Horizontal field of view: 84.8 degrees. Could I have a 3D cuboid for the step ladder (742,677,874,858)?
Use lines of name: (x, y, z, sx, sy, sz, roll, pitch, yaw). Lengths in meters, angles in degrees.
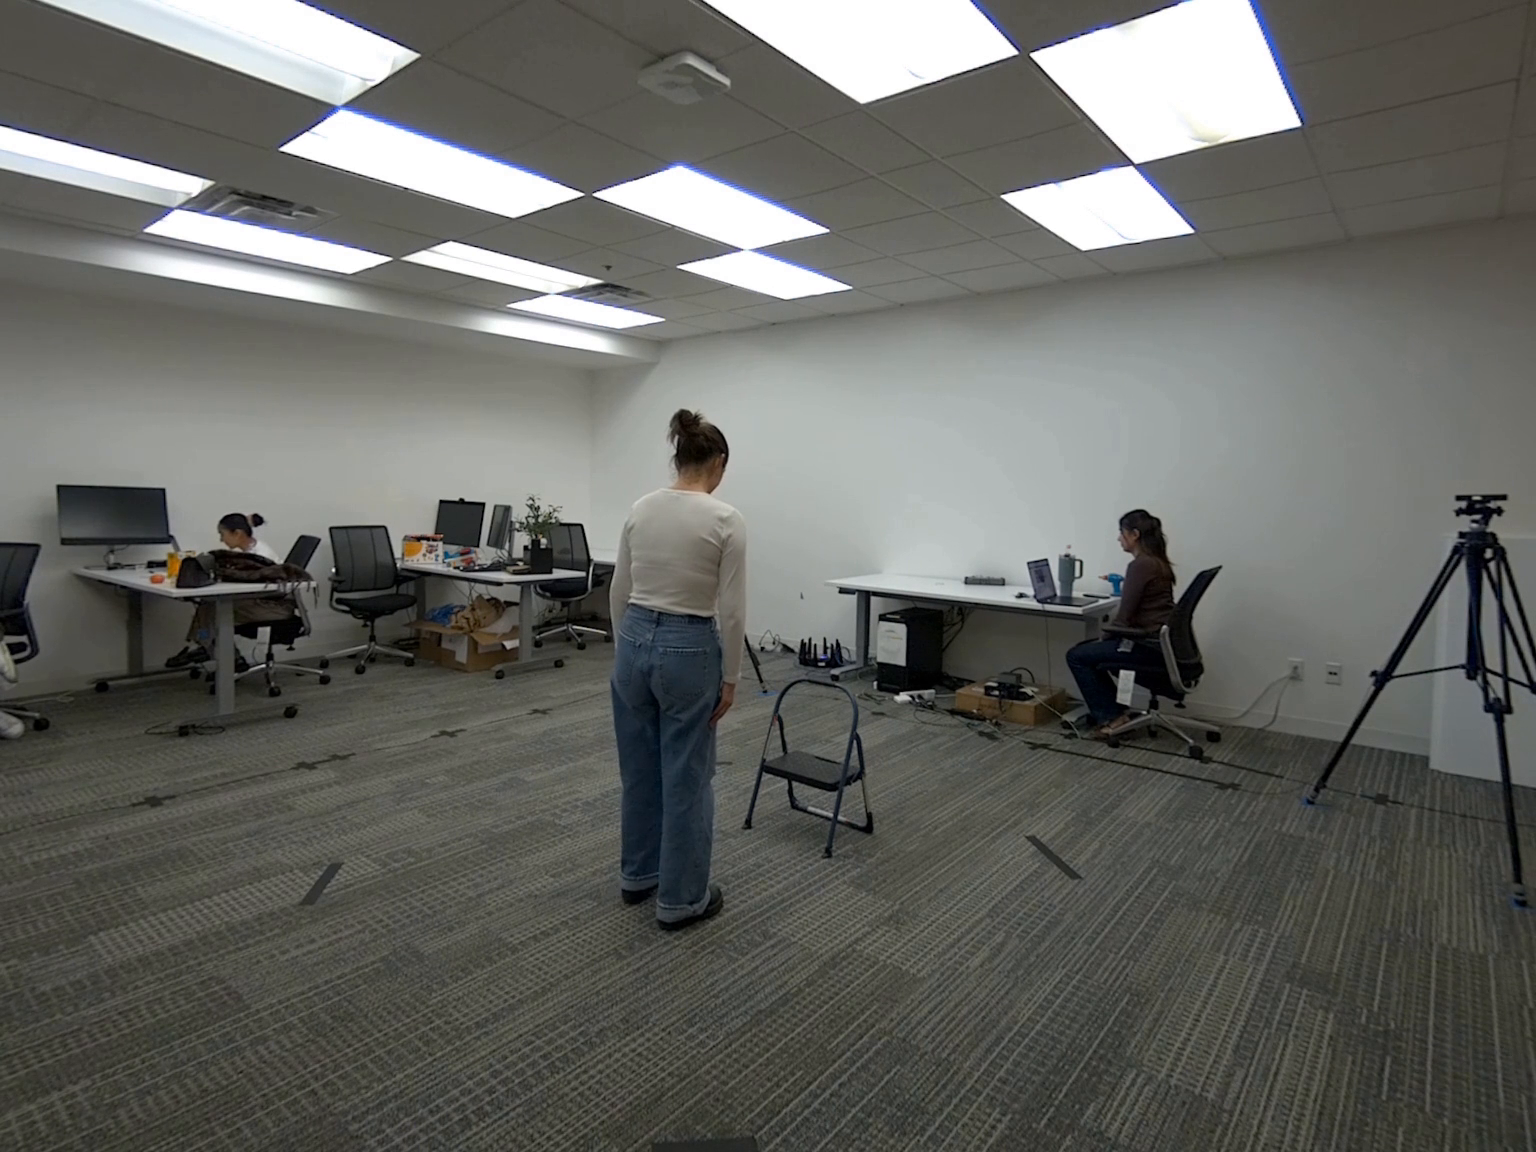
step ladder: (0.165, 0.734, 3.461, 0.445, 0.604, 0.339, 4, 5, 39)
